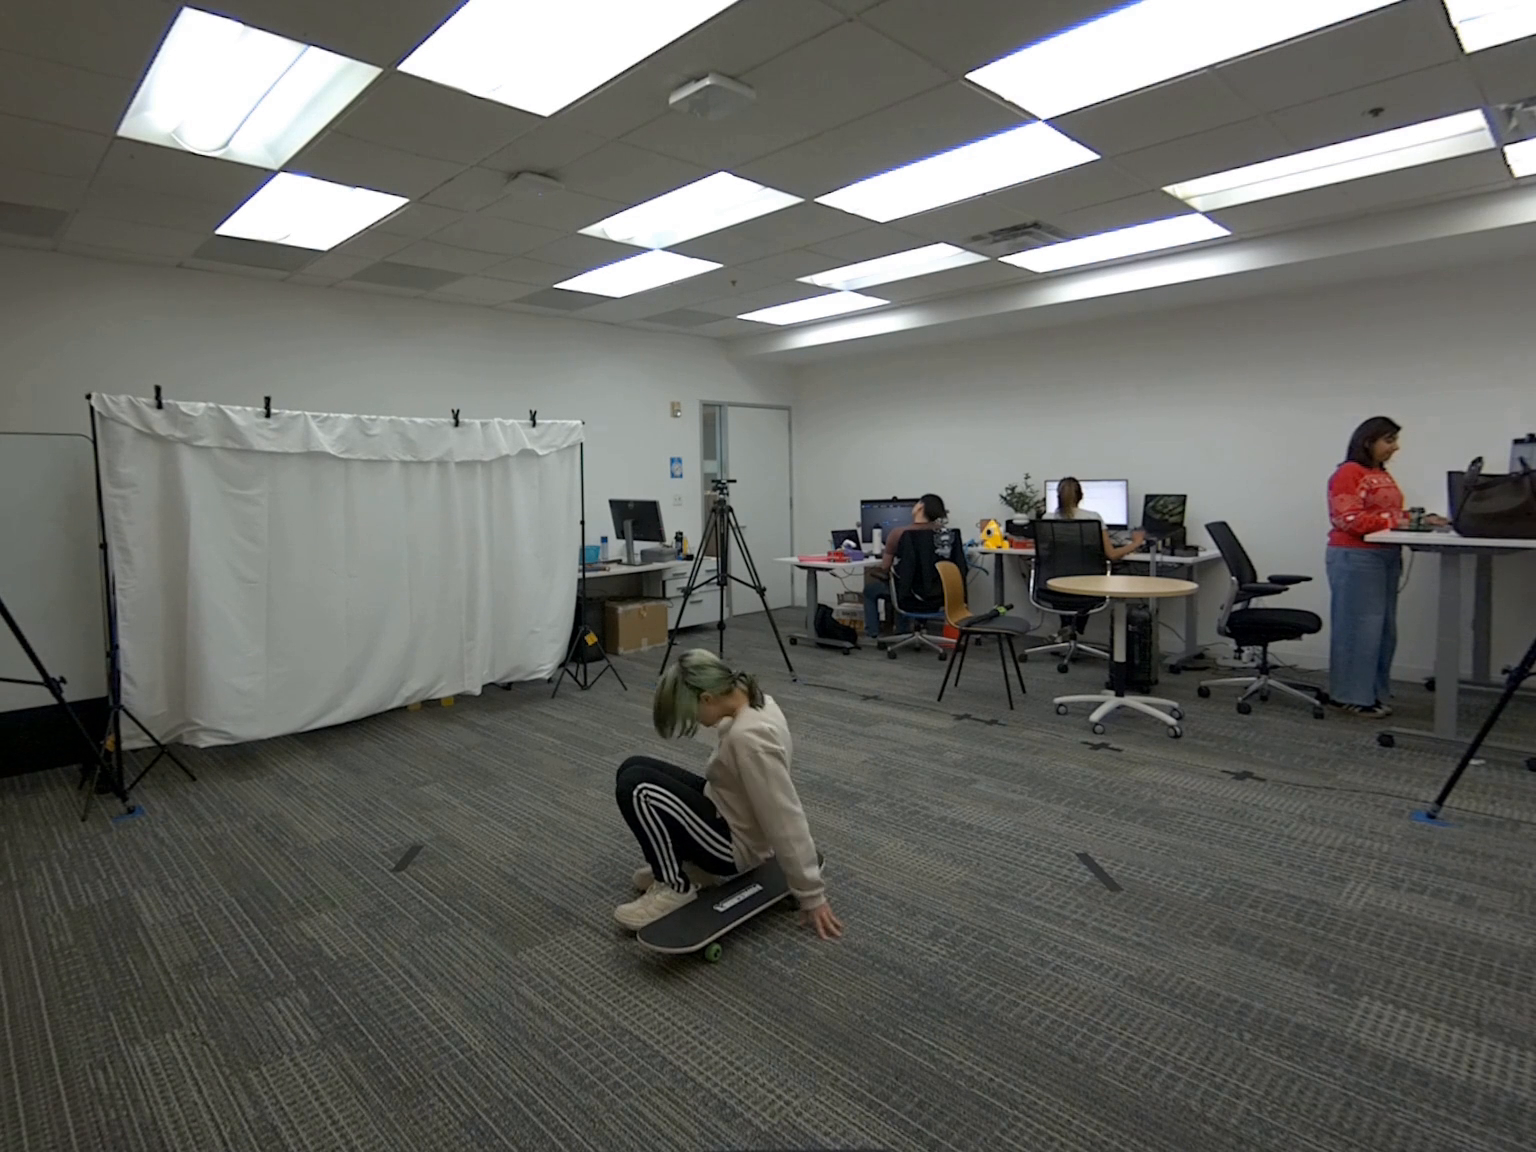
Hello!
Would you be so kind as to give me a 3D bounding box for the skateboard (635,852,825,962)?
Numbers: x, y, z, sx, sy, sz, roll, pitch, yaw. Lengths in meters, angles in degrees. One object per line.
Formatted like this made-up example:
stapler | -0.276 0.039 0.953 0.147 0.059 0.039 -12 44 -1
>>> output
skateboard | -0.089 1.040 2.679 0.199 0.110 0.765 4 7 43
